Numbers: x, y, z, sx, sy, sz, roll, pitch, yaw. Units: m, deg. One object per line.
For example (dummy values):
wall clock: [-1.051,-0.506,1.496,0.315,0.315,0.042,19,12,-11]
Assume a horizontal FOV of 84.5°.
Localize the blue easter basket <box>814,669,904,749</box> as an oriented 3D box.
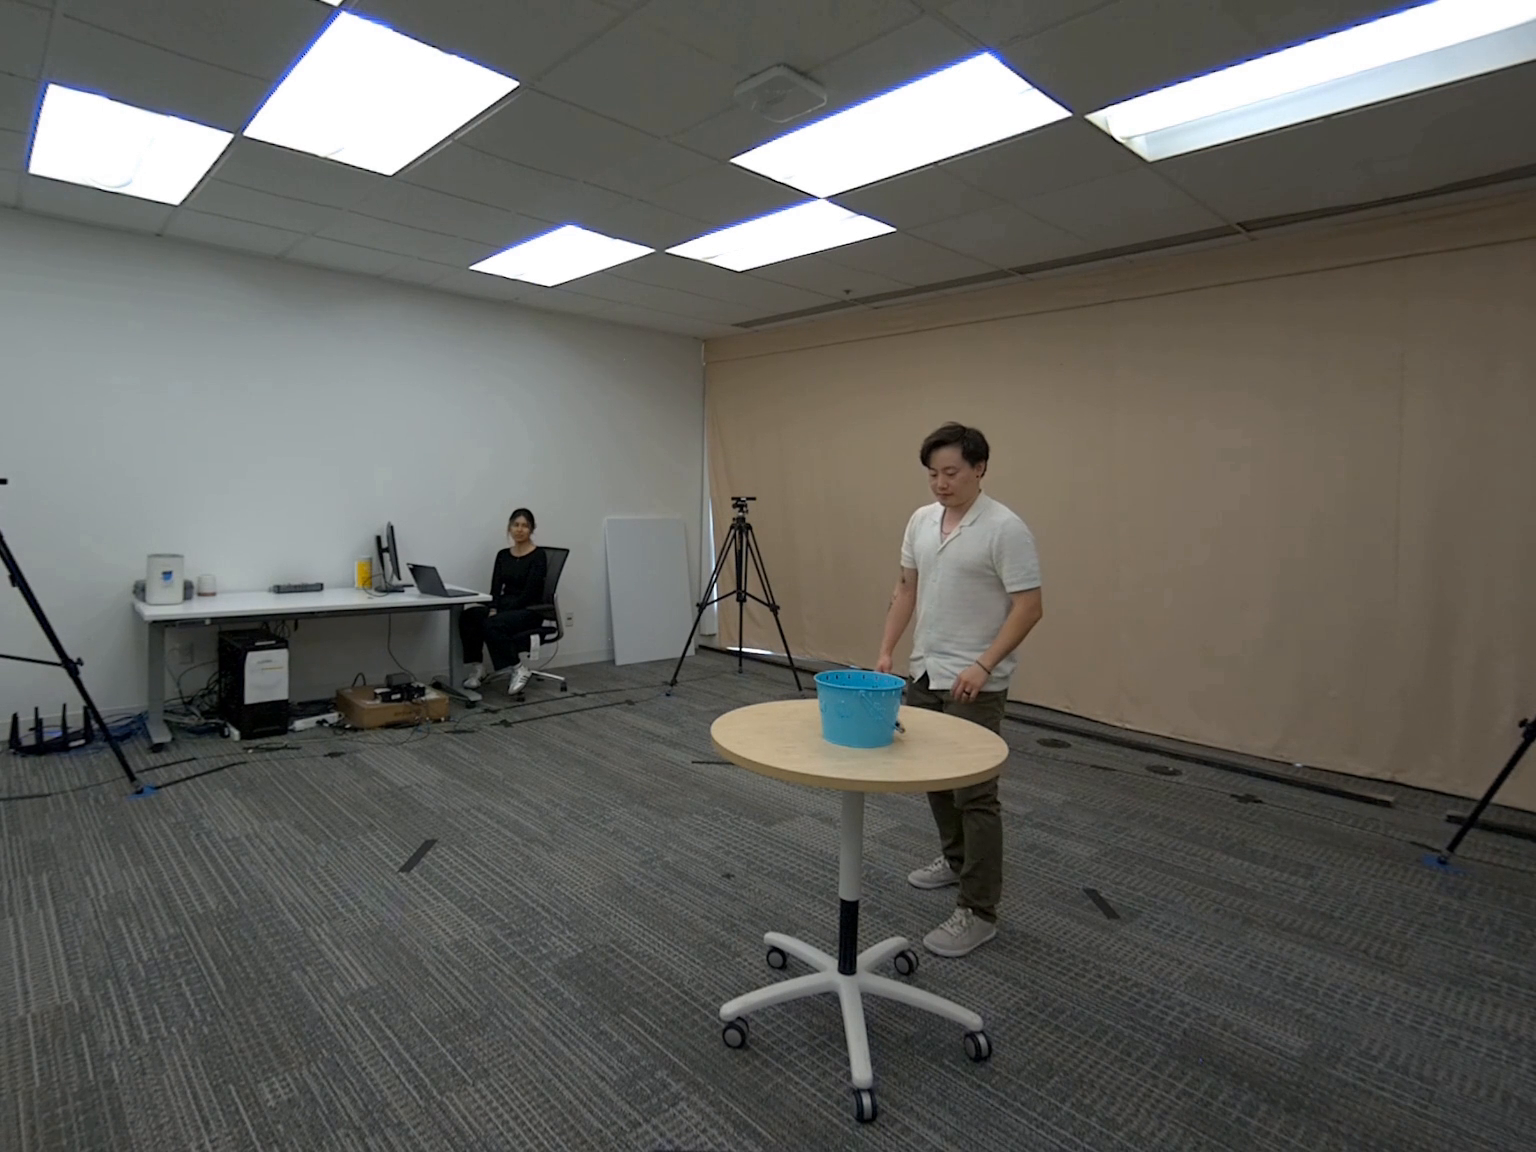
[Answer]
blue easter basket: [0.234,0.347,2.162,0.243,0.155,0.244,2,5,-1]
